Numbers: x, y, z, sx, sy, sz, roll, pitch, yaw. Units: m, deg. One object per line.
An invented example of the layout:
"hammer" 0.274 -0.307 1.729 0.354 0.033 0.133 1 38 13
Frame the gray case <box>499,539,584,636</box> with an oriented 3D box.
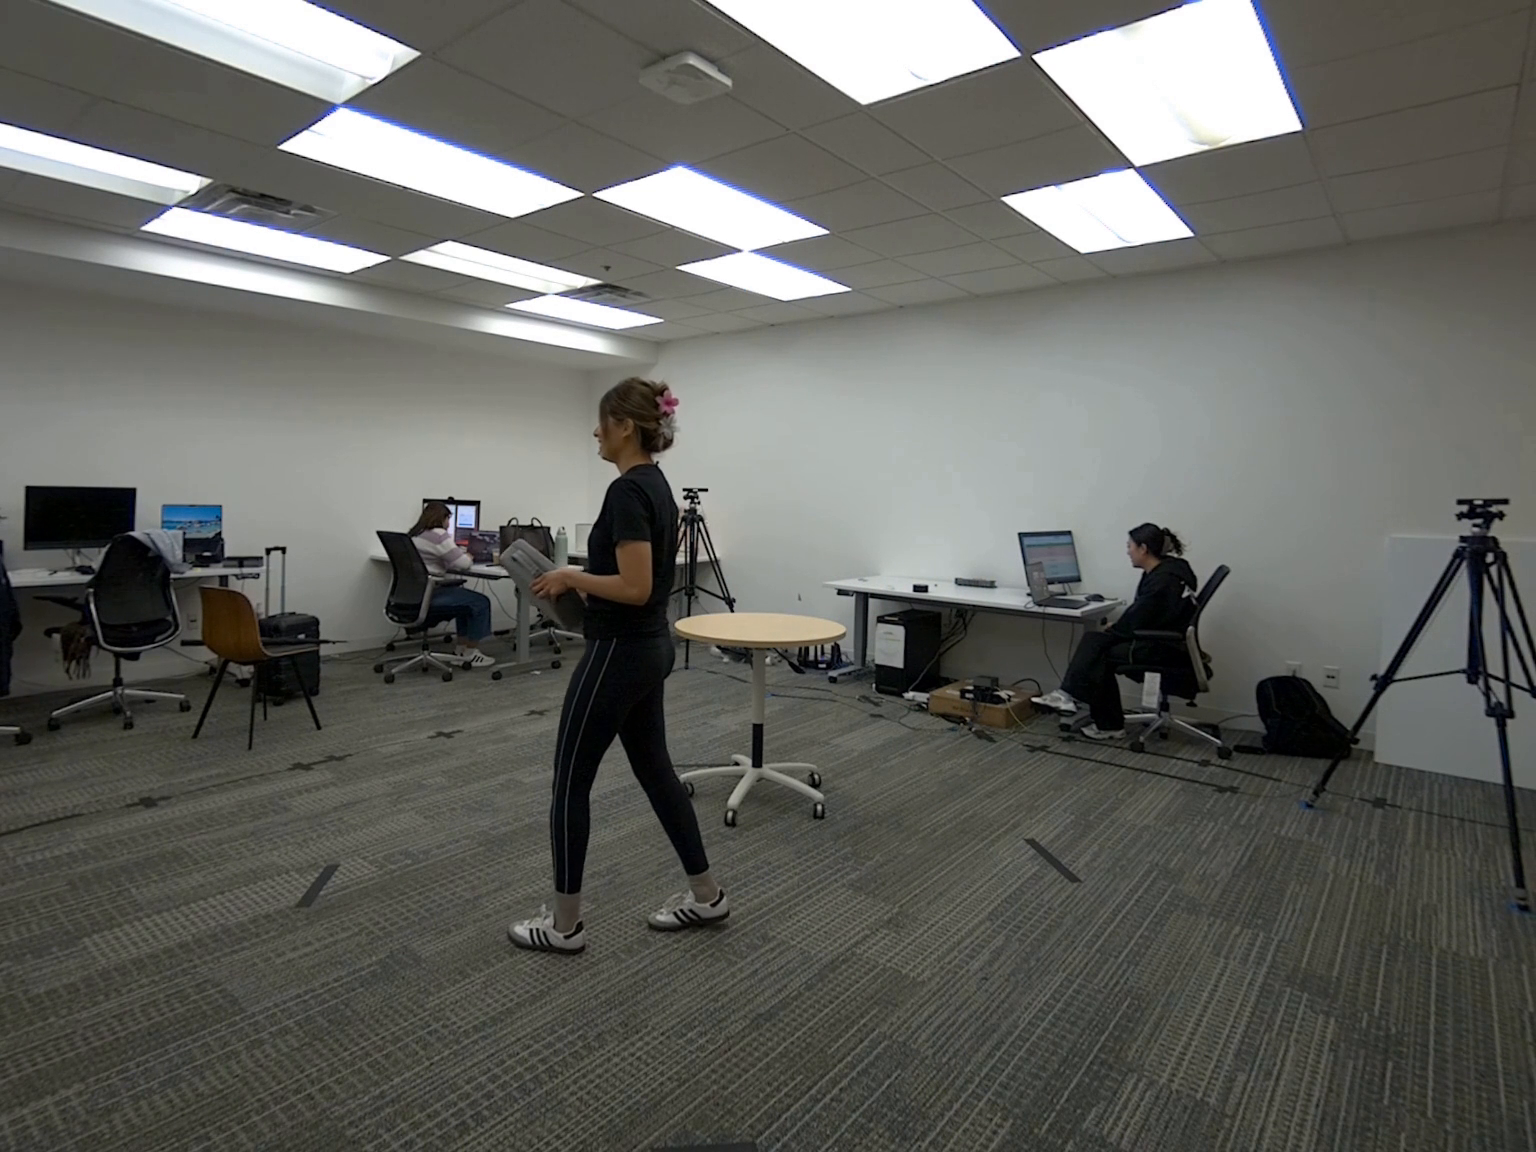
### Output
"gray case" -0.721 0.026 2.667 0.265 0.104 0.253 36 -20 23
